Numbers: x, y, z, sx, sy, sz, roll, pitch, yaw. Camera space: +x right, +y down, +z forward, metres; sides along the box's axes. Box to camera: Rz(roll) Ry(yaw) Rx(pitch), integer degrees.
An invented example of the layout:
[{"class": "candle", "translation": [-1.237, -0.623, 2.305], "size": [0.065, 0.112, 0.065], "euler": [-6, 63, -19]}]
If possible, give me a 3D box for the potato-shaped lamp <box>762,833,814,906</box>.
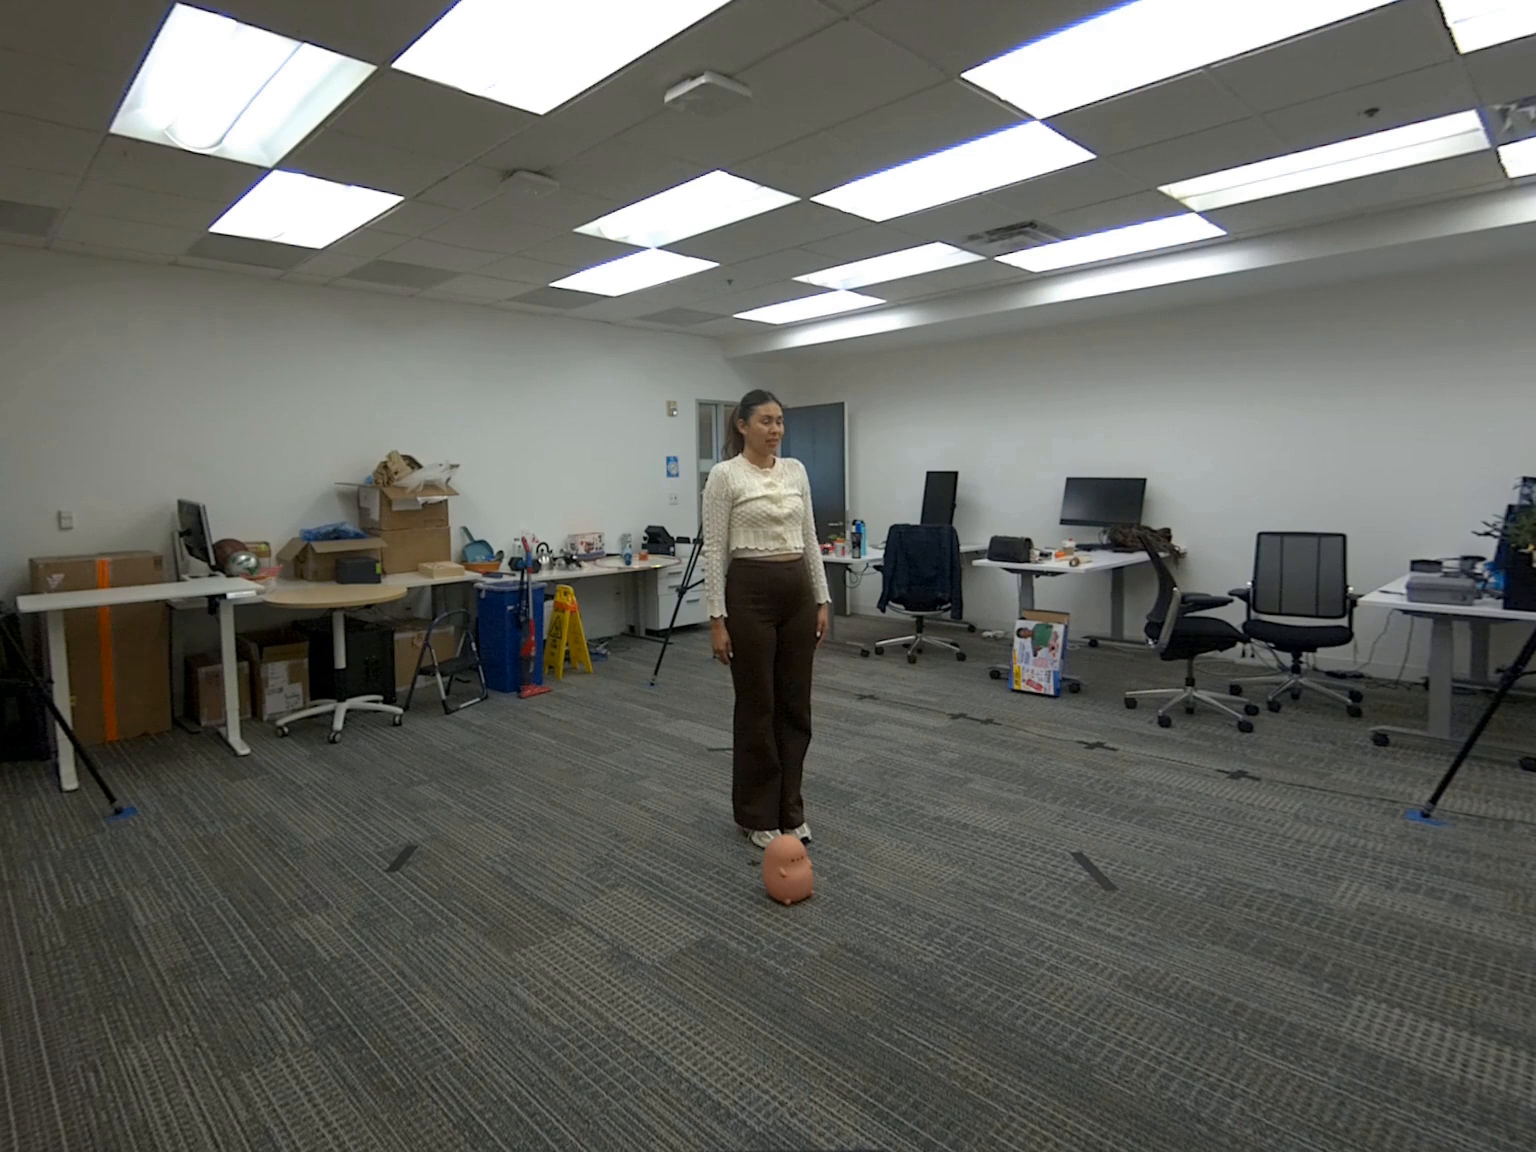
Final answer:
[{"class": "potato-shaped lamp", "translation": [0.067, 0.973, 2.861], "size": [0.161, 0.197, 0.176], "euler": [-3, 4, -32]}]
